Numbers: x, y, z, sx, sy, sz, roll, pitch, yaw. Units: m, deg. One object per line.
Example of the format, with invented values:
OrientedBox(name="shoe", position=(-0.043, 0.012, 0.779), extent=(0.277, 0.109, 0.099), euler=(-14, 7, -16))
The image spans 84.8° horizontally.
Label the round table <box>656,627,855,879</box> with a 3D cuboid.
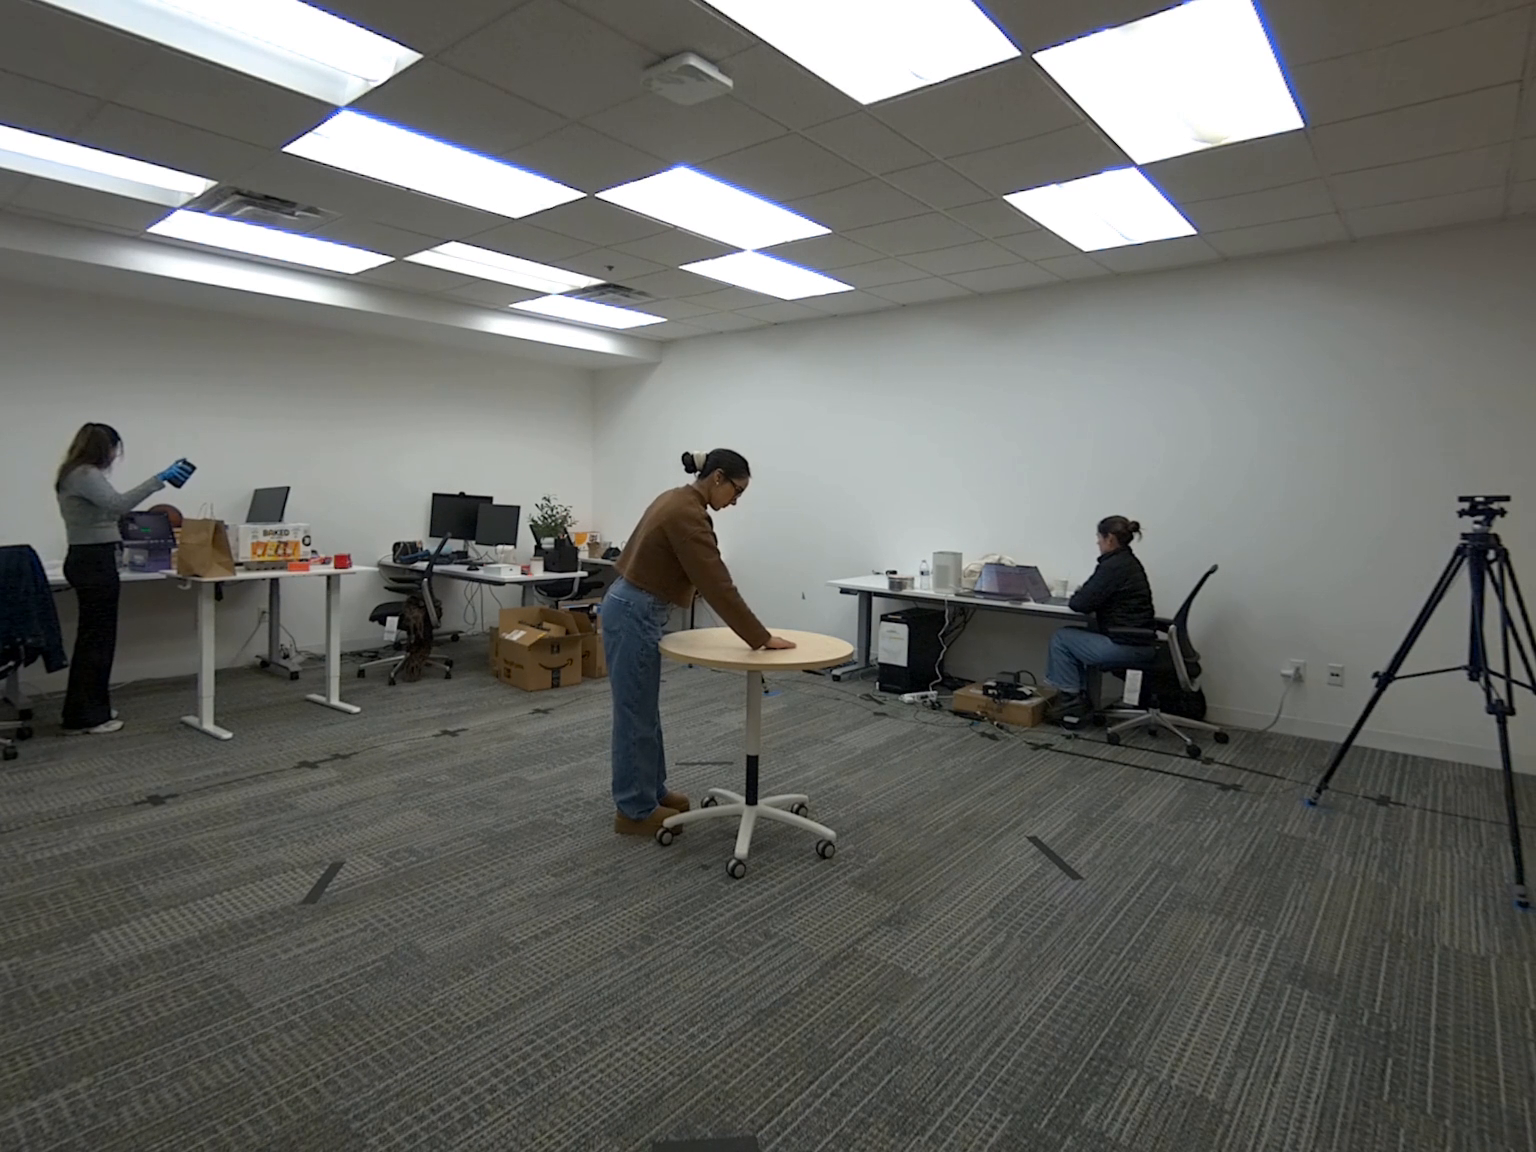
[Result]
OrientedBox(name="round table", position=(-0.067, 0.656, 3.363), extent=(0.763, 0.791, 0.768), euler=(1, 4, -2))
